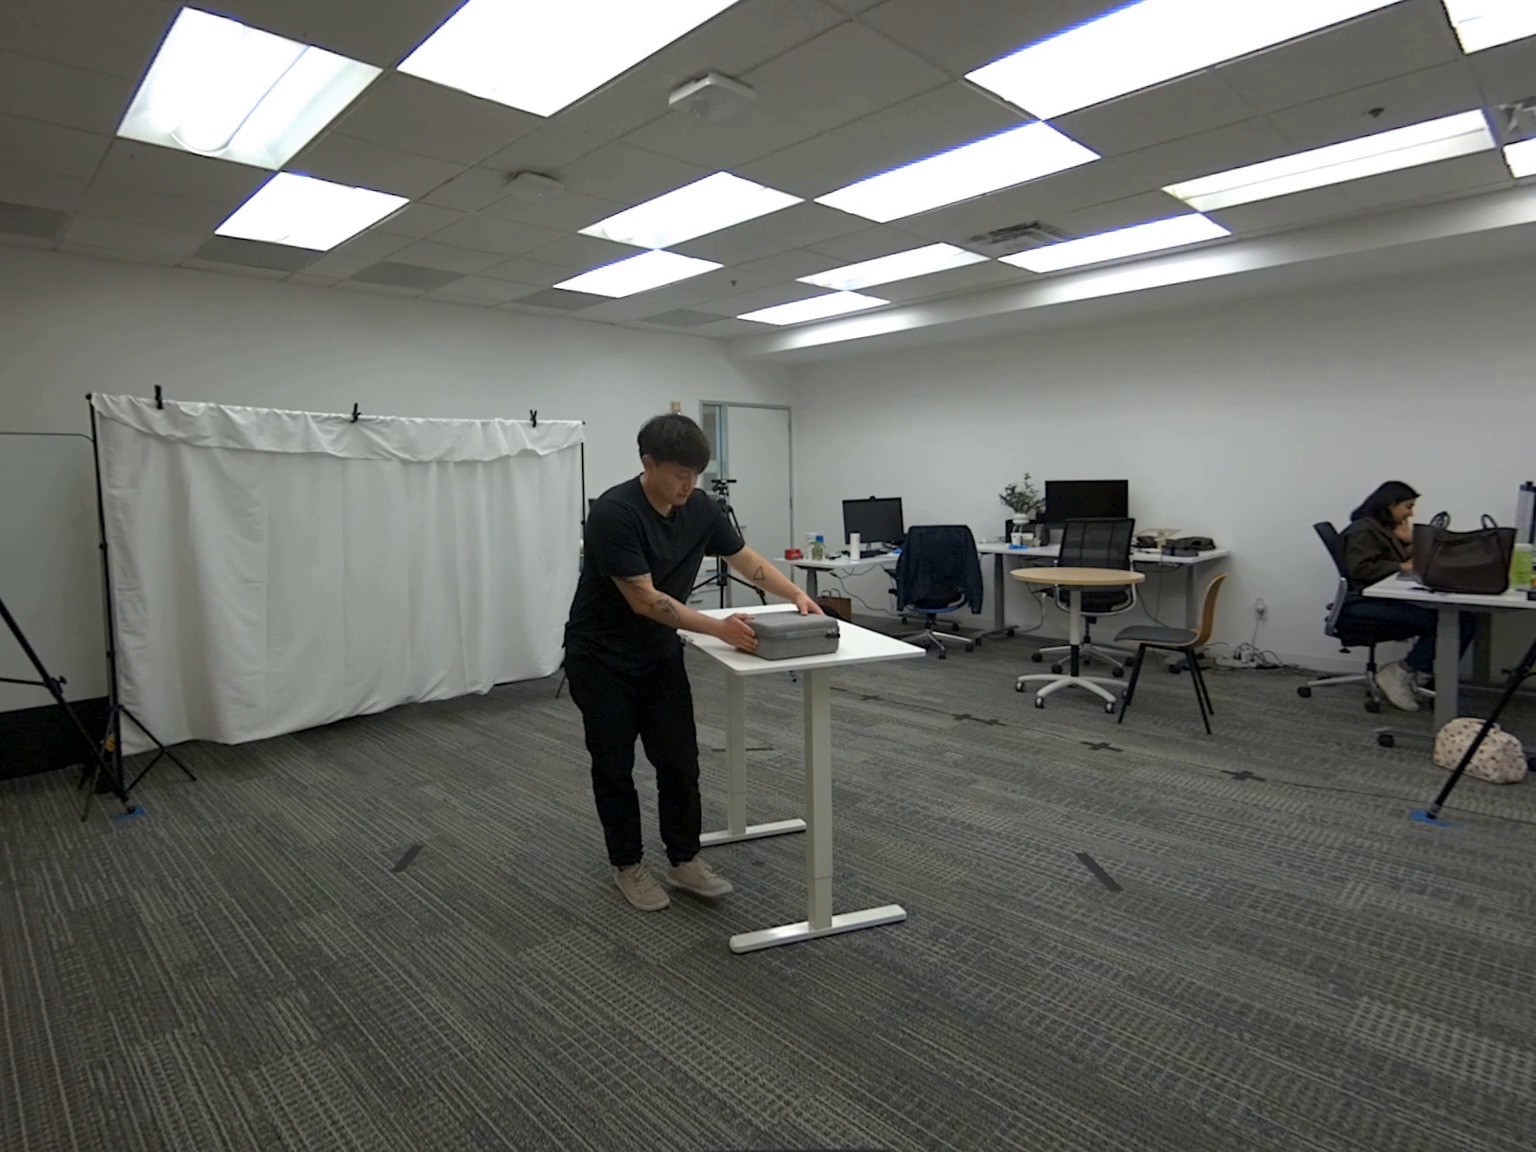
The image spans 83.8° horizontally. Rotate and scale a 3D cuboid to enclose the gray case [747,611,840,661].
[{"bbox_3d":[0.049,0.174,2.591,0.252,0.104,0.266,-5,6,-22],"label":"gray case"}]
